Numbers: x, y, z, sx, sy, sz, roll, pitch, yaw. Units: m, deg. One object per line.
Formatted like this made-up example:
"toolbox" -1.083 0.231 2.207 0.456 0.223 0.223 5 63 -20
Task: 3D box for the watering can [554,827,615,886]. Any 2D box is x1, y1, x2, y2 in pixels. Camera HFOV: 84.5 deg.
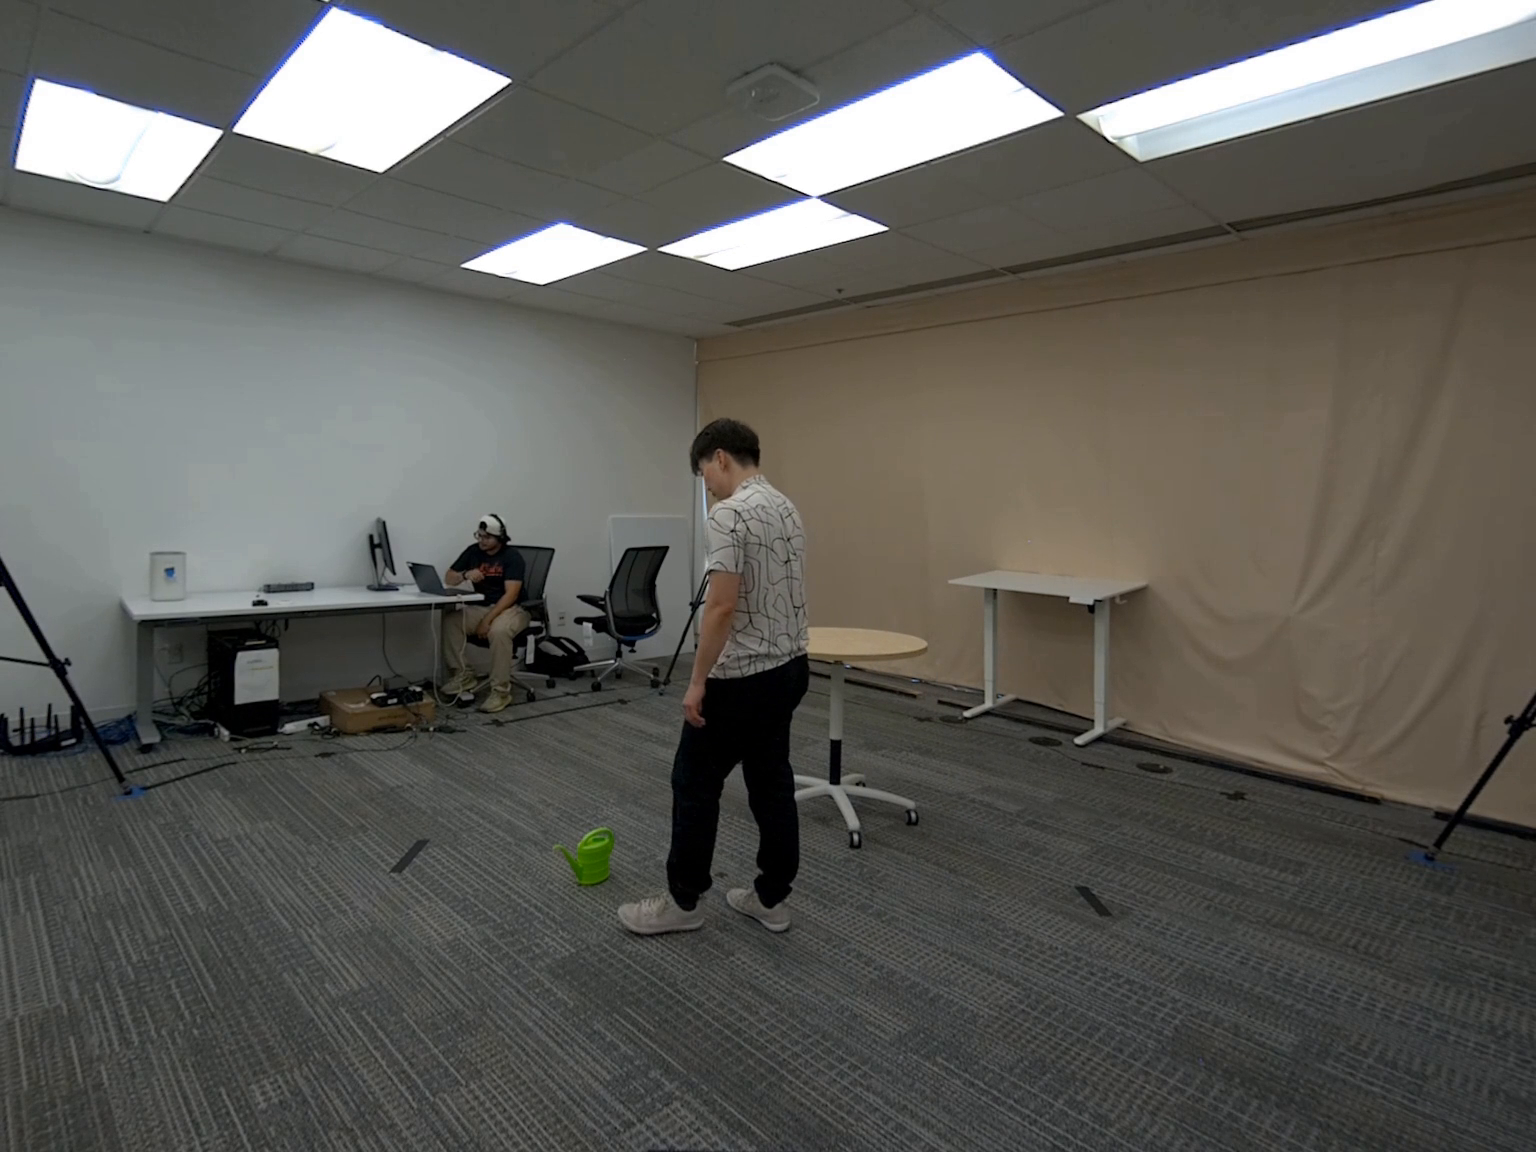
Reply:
"watering can" -0.670 1.007 3.012 0.272 0.176 0.100 -1 6 -39
